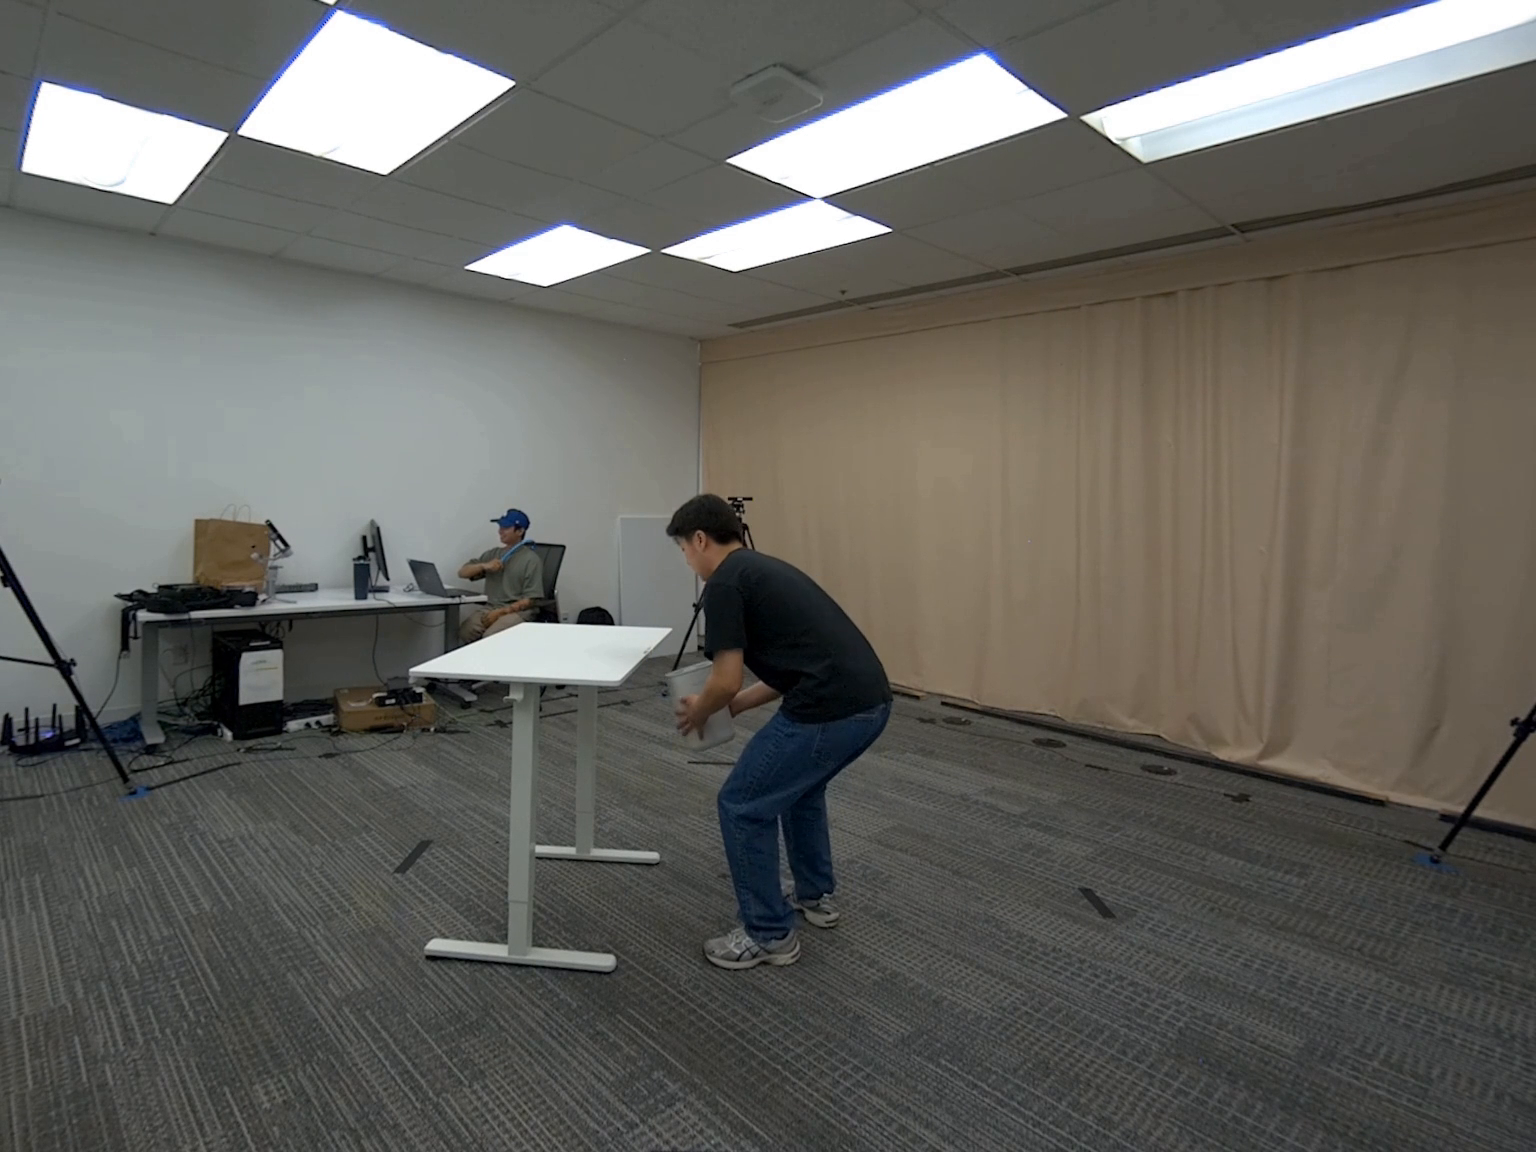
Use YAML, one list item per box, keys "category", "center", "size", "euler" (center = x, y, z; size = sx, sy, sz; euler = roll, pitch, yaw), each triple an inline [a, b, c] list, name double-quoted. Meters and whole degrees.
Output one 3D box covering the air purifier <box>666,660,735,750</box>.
- category: "air purifier"
  center: [-0.233, 0.437, 2.832]
  size: [0.169, 0.266, 0.172]
  euler: [-14, -3, -15]
